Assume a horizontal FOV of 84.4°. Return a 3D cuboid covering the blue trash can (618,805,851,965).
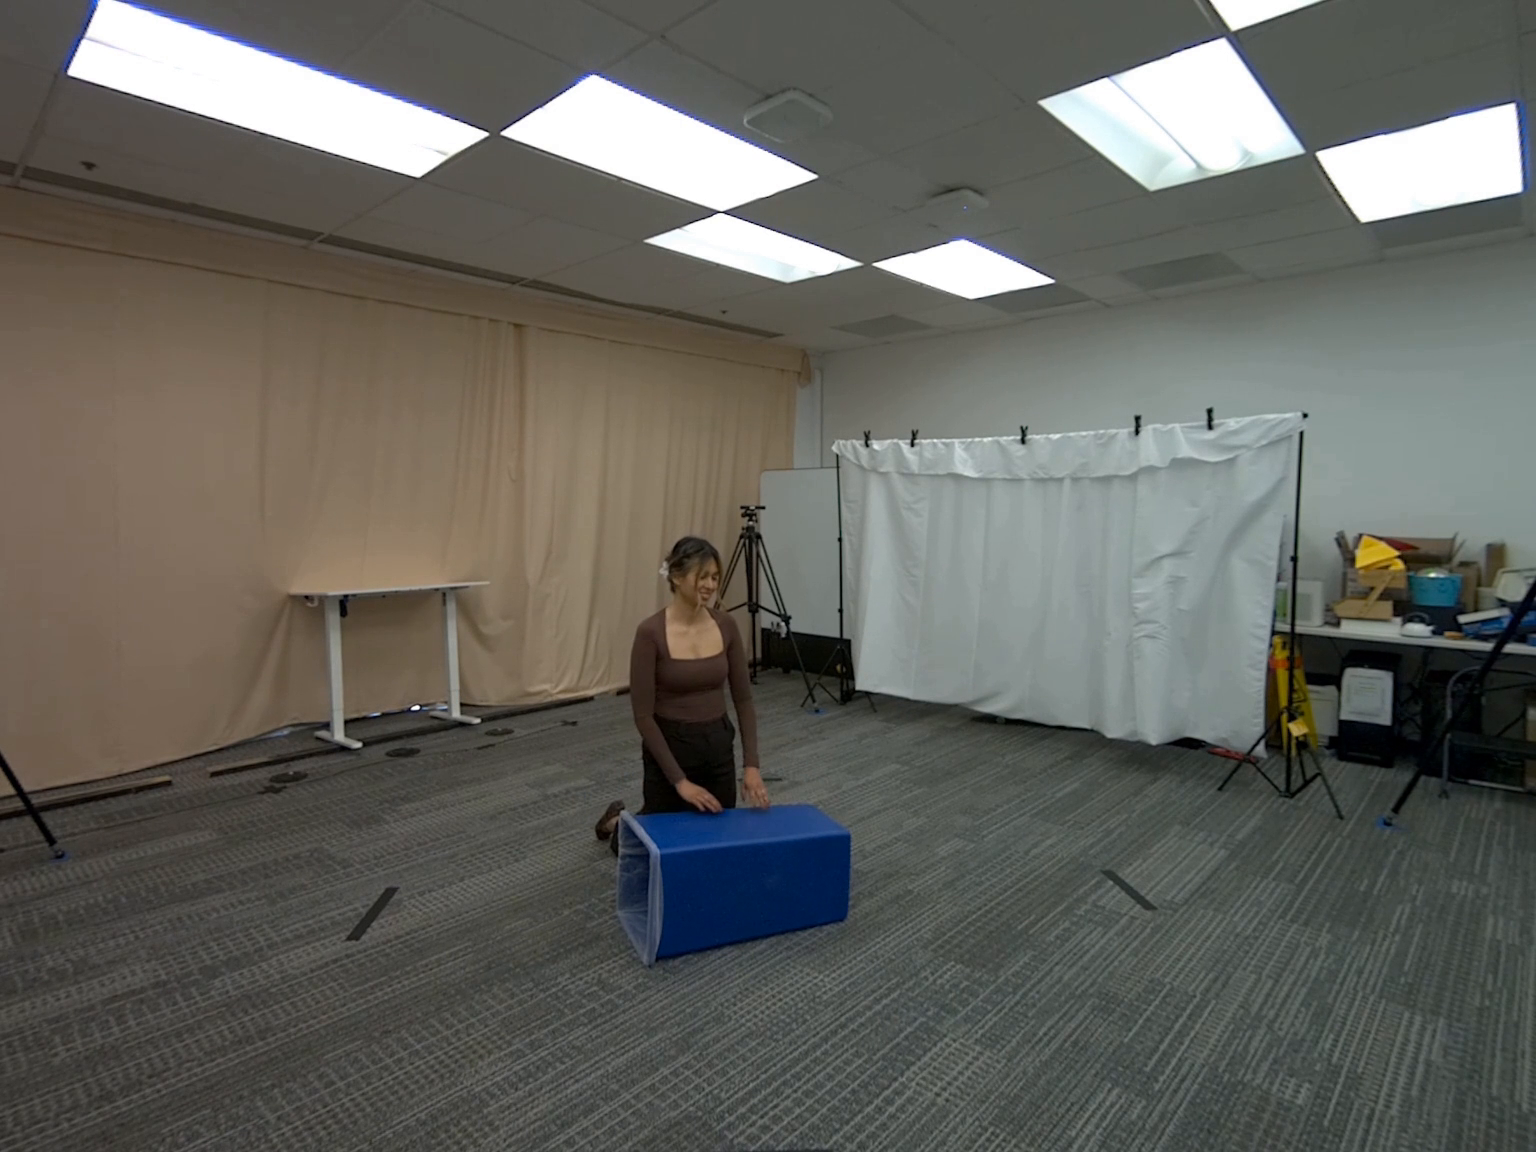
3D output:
[{"bbox_3d":[-0.106,0.985,2.815,0.698,0.377,0.383,0,2,-22],"label":"blue trash can"}]
